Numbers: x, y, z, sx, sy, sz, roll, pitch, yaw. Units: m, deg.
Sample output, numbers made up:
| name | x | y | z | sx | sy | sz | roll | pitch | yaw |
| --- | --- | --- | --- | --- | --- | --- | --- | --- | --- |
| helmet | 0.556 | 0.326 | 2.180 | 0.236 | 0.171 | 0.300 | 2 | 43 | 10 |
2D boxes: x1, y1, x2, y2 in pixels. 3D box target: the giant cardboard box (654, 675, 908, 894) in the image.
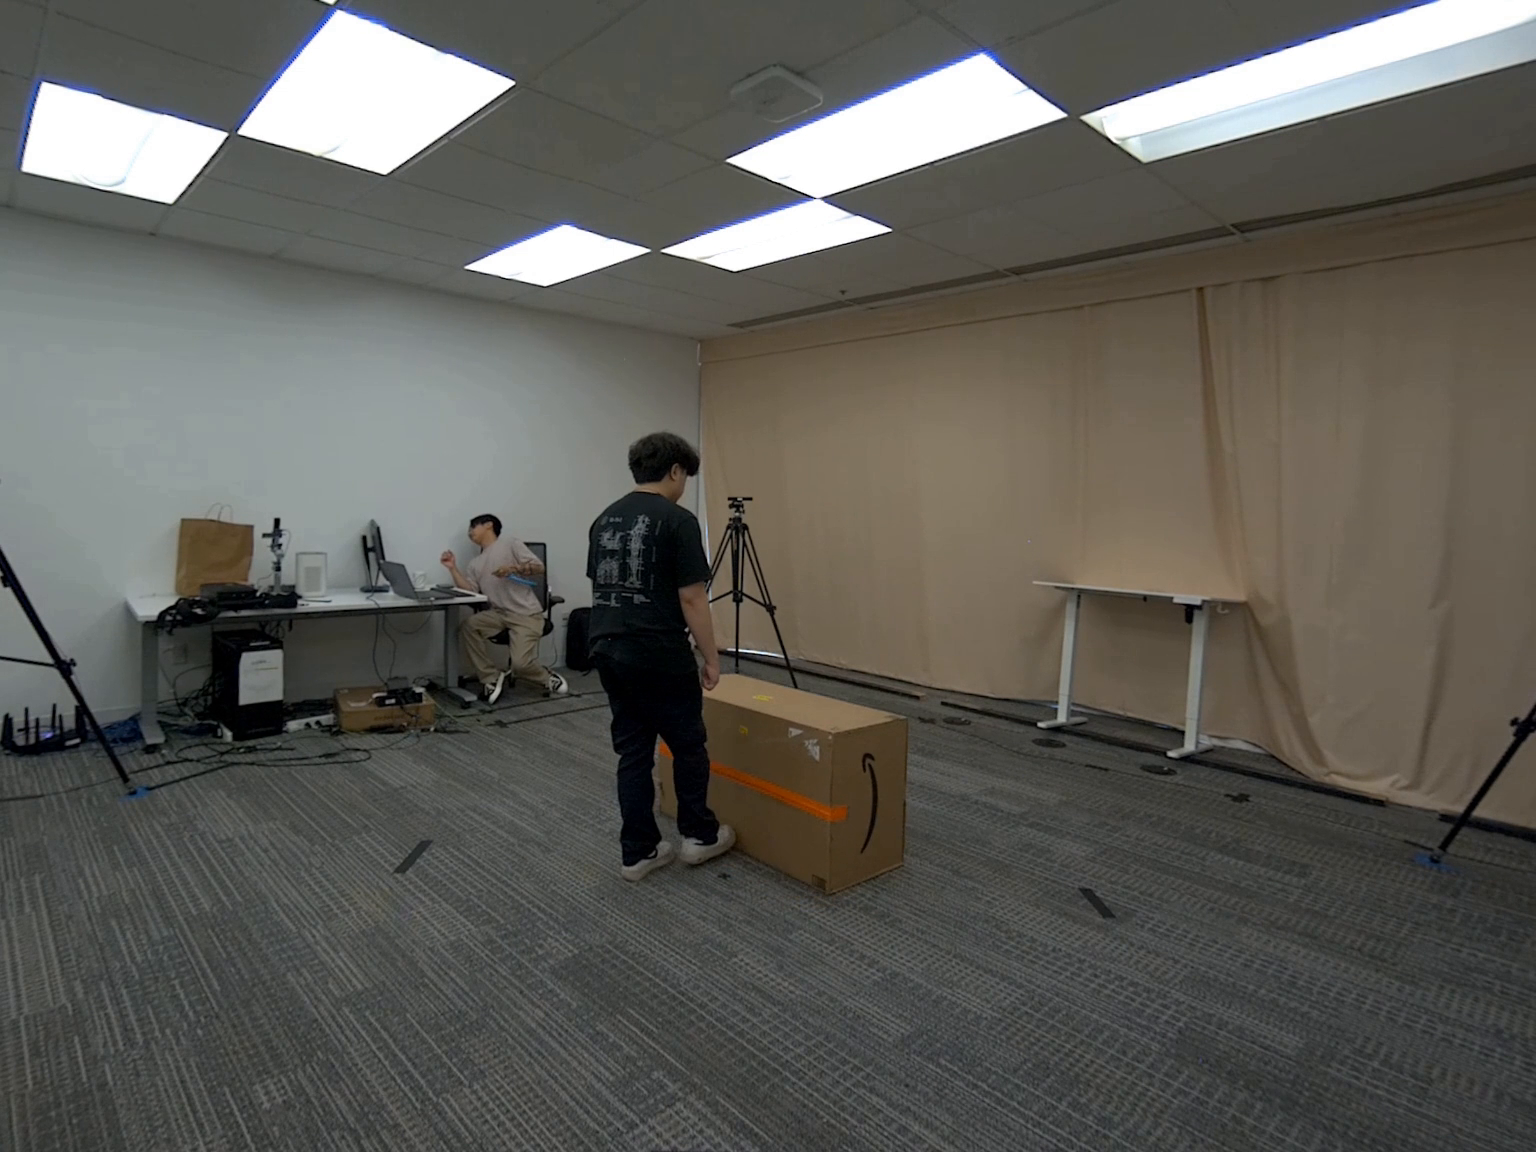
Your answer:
| name | x | y | z | sx | sy | sz | roll | pitch | yaw |
| --- | --- | --- | --- | --- | --- | --- | --- | --- | --- |
| giant cardboard box | 0.023 | 0.794 | 3.473 | 0.437 | 0.582 | 1.053 | -3 | 5 | -42 |
